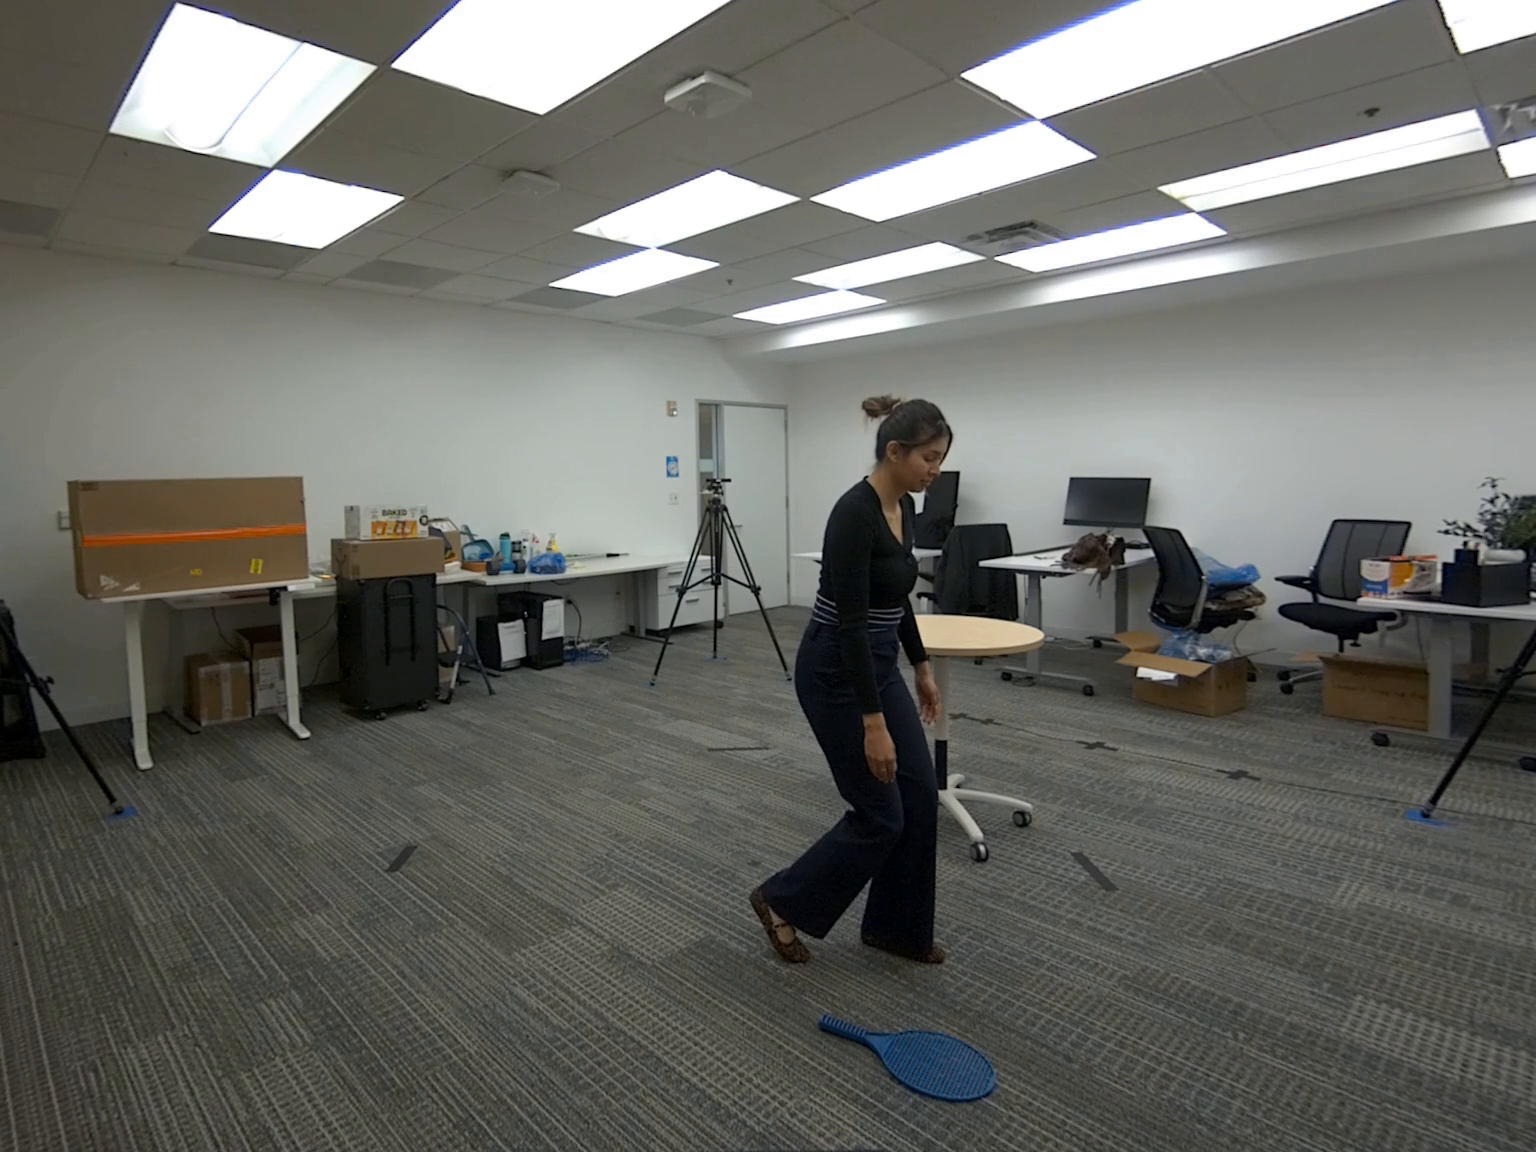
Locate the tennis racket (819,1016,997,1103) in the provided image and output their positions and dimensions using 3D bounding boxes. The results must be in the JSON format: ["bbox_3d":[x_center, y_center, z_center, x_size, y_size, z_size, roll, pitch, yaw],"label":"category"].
[{"bbox_3d":[0.330,1.152,2.059,0.444,0.031,0.209,4,10,29],"label":"tennis racket"}]
